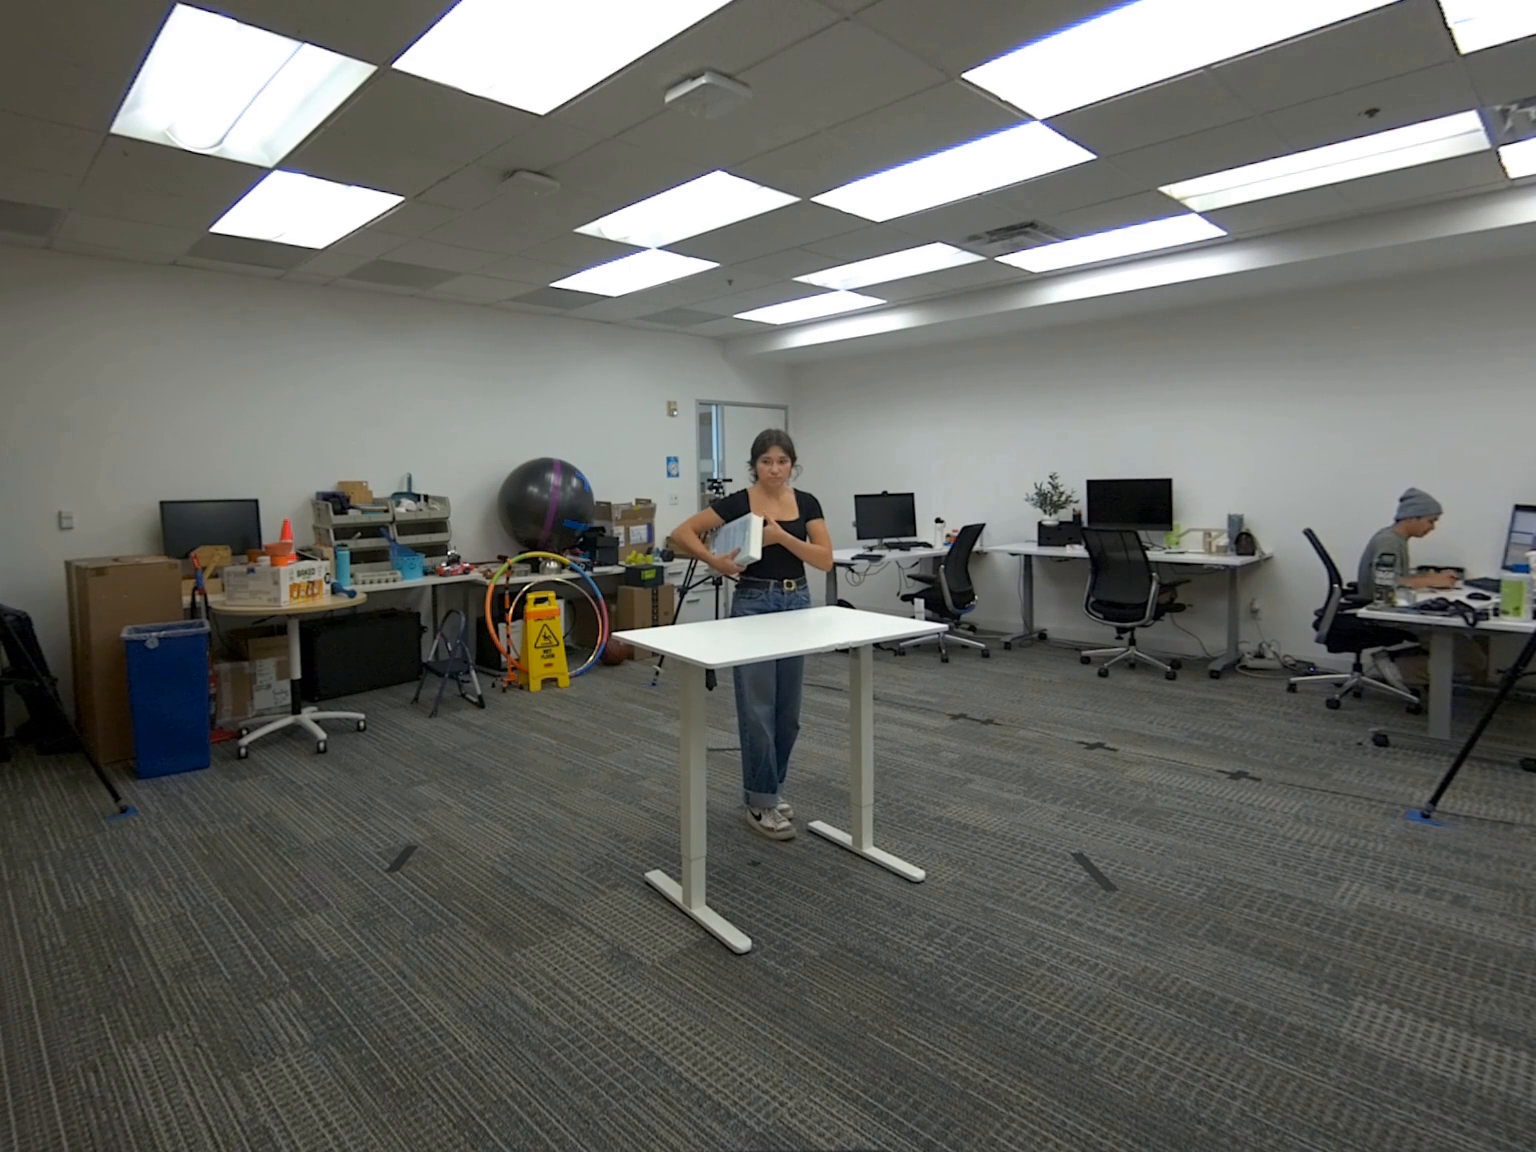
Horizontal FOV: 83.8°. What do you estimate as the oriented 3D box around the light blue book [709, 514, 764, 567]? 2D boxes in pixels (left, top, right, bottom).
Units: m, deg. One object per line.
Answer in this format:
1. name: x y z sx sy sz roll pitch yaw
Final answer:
1. light blue book: -0.127 -0.119 3.385 0.057 0.195 0.264 18 -27 -32
